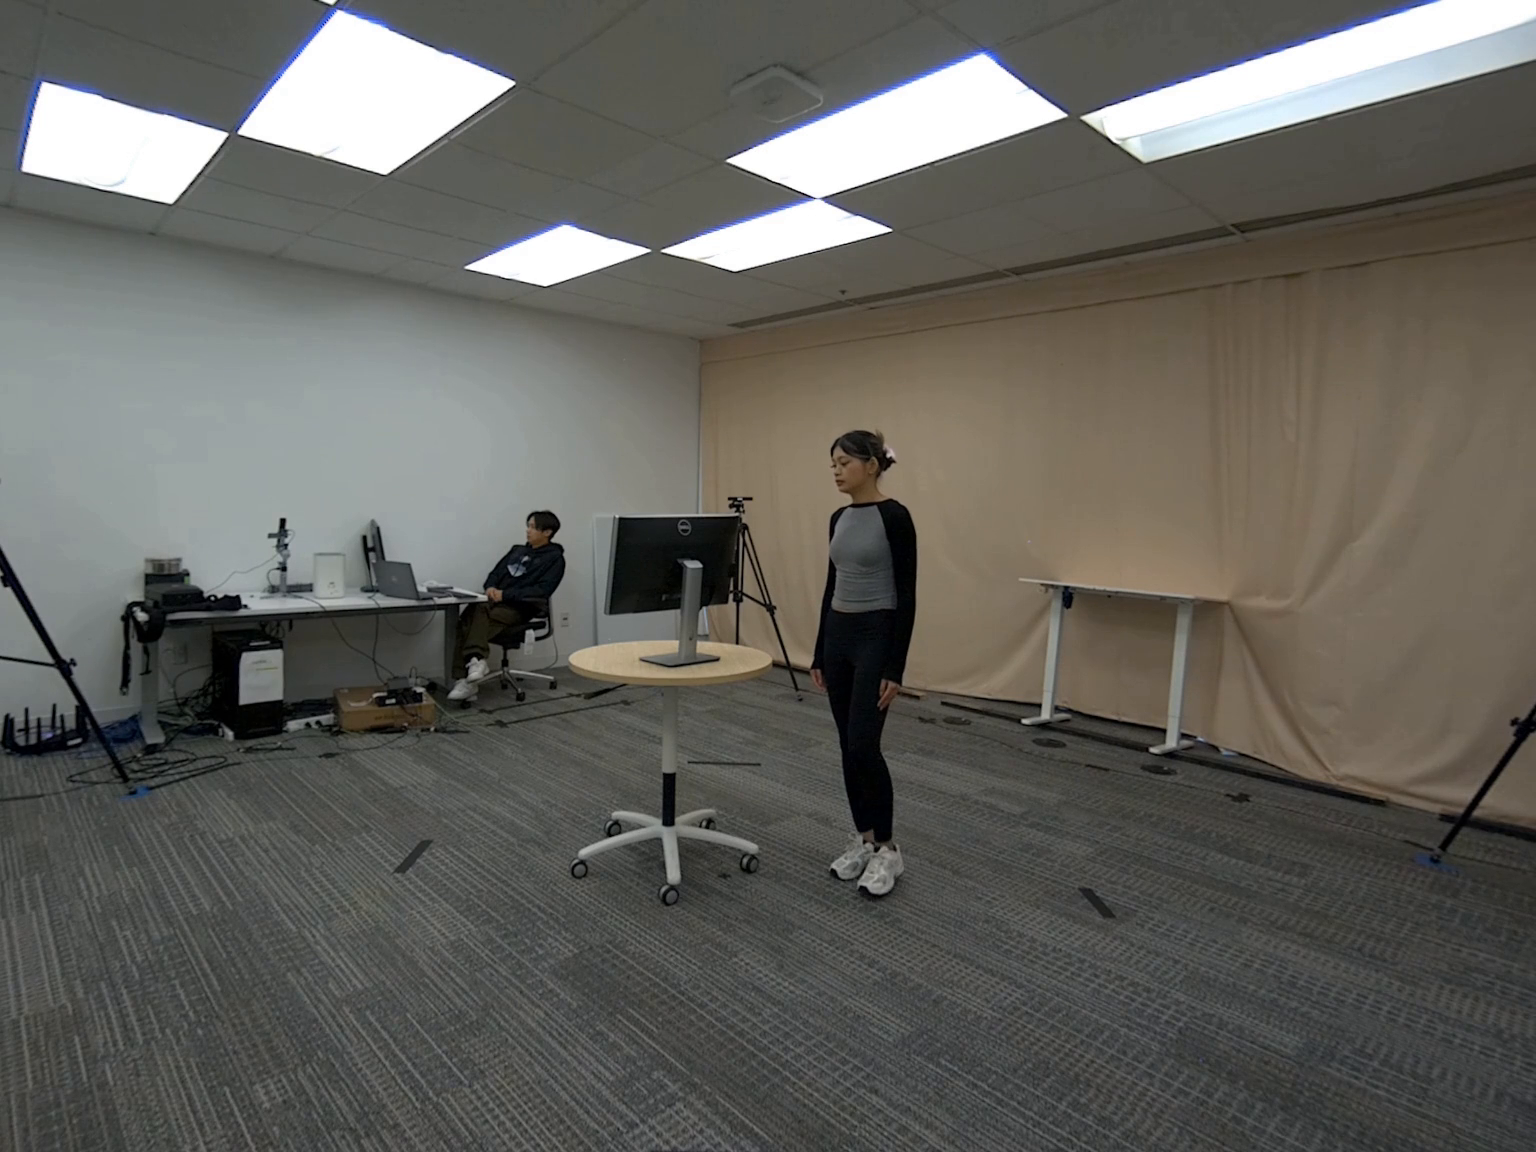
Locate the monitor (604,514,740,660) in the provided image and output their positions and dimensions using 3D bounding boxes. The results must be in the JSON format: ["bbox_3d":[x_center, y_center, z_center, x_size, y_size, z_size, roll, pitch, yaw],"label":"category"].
[{"bbox_3d":[-0.330,0.050,3.113,0.527,0.522,0.192,-2,4,-43],"label":"monitor"}]
